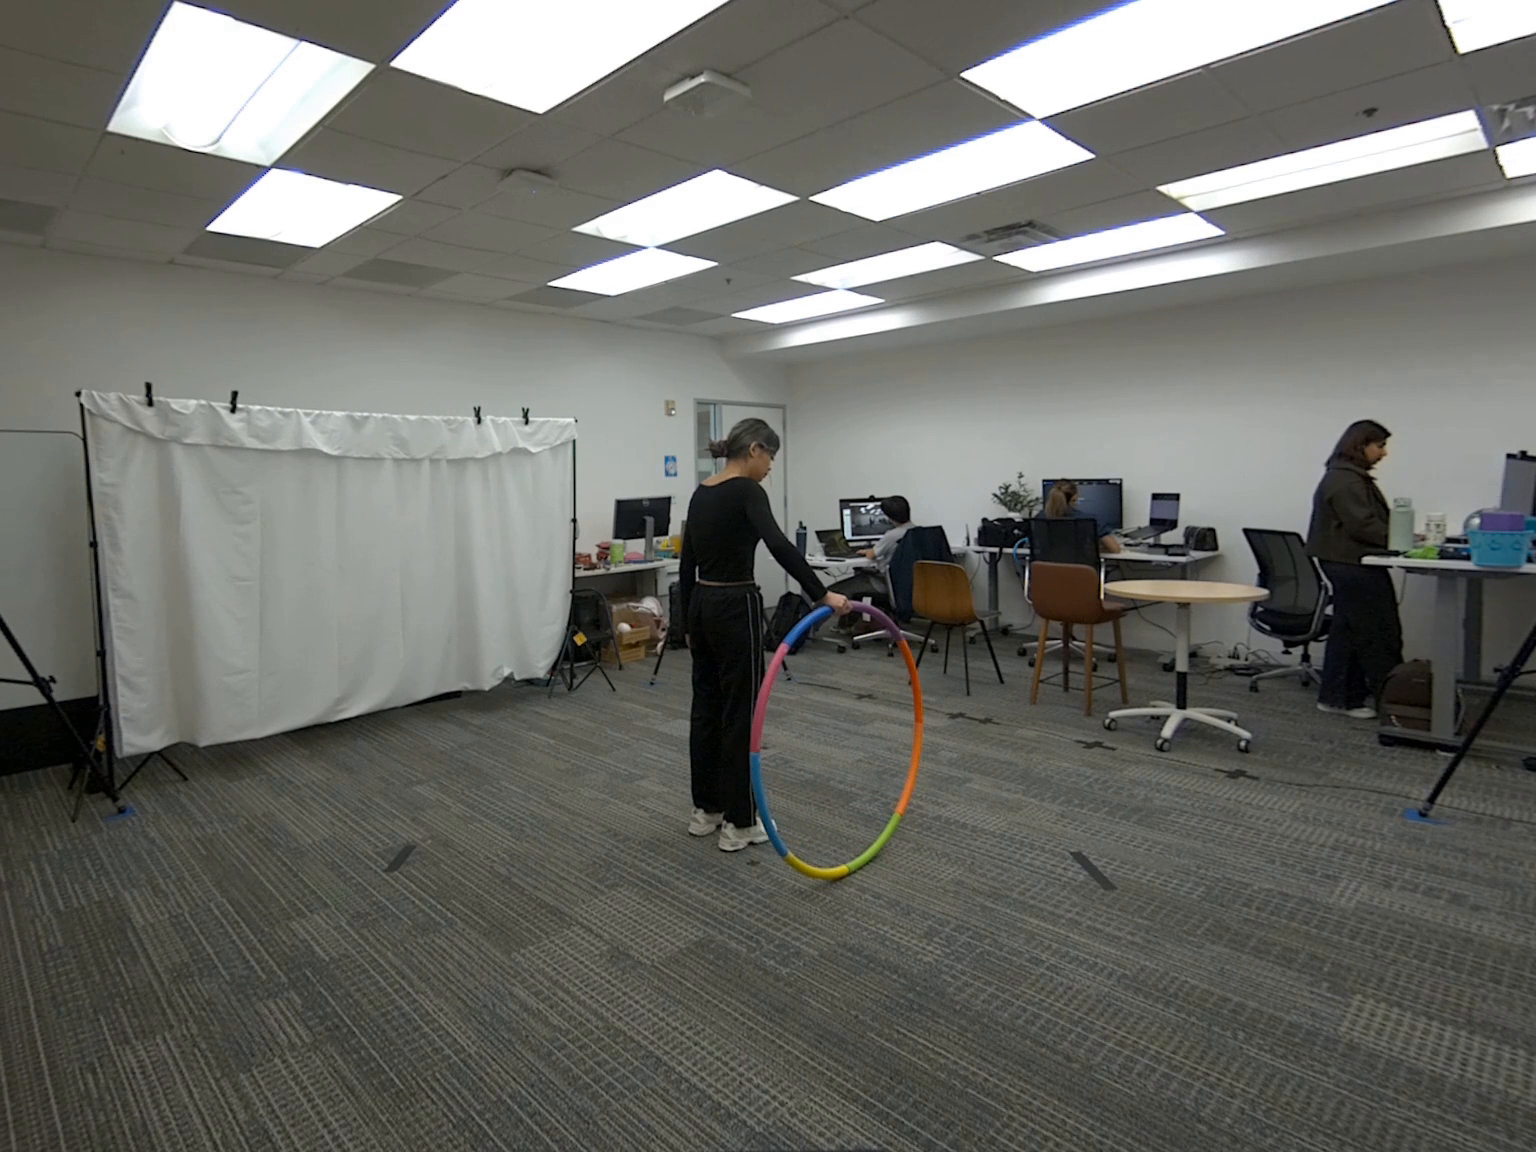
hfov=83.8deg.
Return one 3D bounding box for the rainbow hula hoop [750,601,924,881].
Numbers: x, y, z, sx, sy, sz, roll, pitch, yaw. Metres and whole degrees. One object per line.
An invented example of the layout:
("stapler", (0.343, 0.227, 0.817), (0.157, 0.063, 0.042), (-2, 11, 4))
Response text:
("rainbow hula hoop", (0.277, 0.567, 3.036), (0.036, 0.978, 0.953), (-5, 1, 41))
